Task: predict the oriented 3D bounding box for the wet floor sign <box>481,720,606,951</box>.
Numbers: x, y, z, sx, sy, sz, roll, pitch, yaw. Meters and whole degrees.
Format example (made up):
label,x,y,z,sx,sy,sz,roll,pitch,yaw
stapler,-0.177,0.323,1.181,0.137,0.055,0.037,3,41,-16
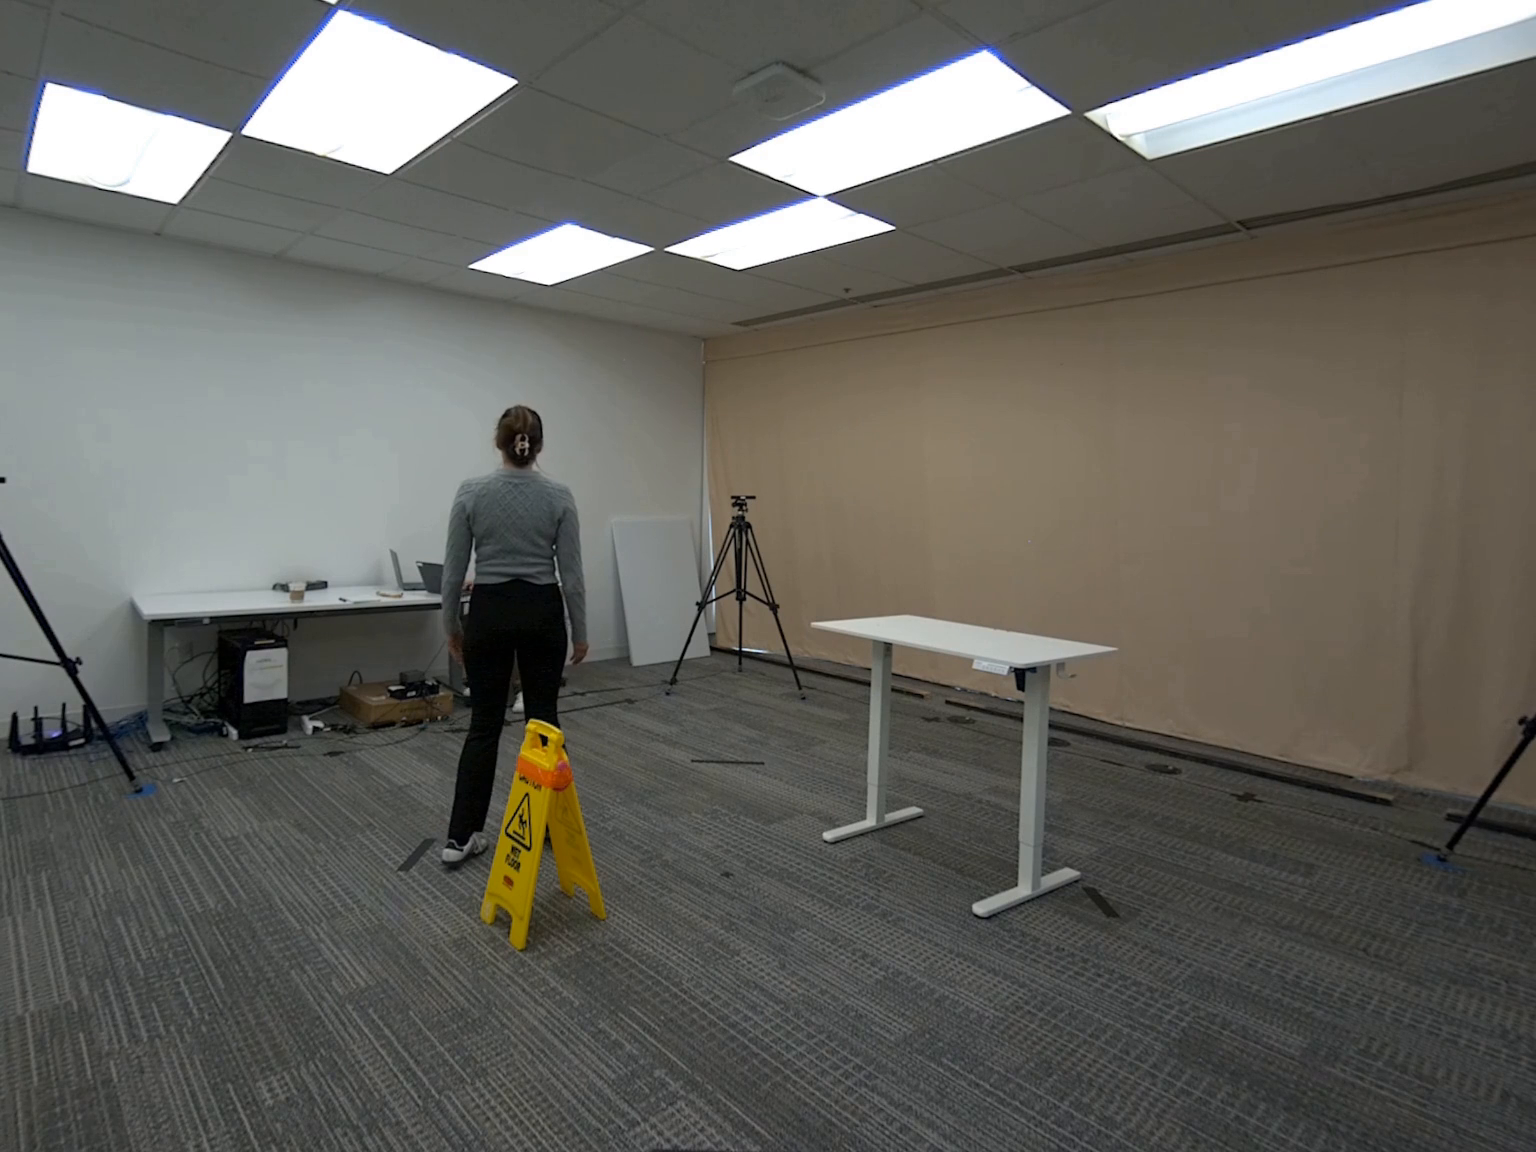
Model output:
label,x,y,z,sx,sy,sz,roll,pitch,yaw
wet floor sign,-0.732,0.805,2.739,0.283,0.644,0.289,-2,5,-43
